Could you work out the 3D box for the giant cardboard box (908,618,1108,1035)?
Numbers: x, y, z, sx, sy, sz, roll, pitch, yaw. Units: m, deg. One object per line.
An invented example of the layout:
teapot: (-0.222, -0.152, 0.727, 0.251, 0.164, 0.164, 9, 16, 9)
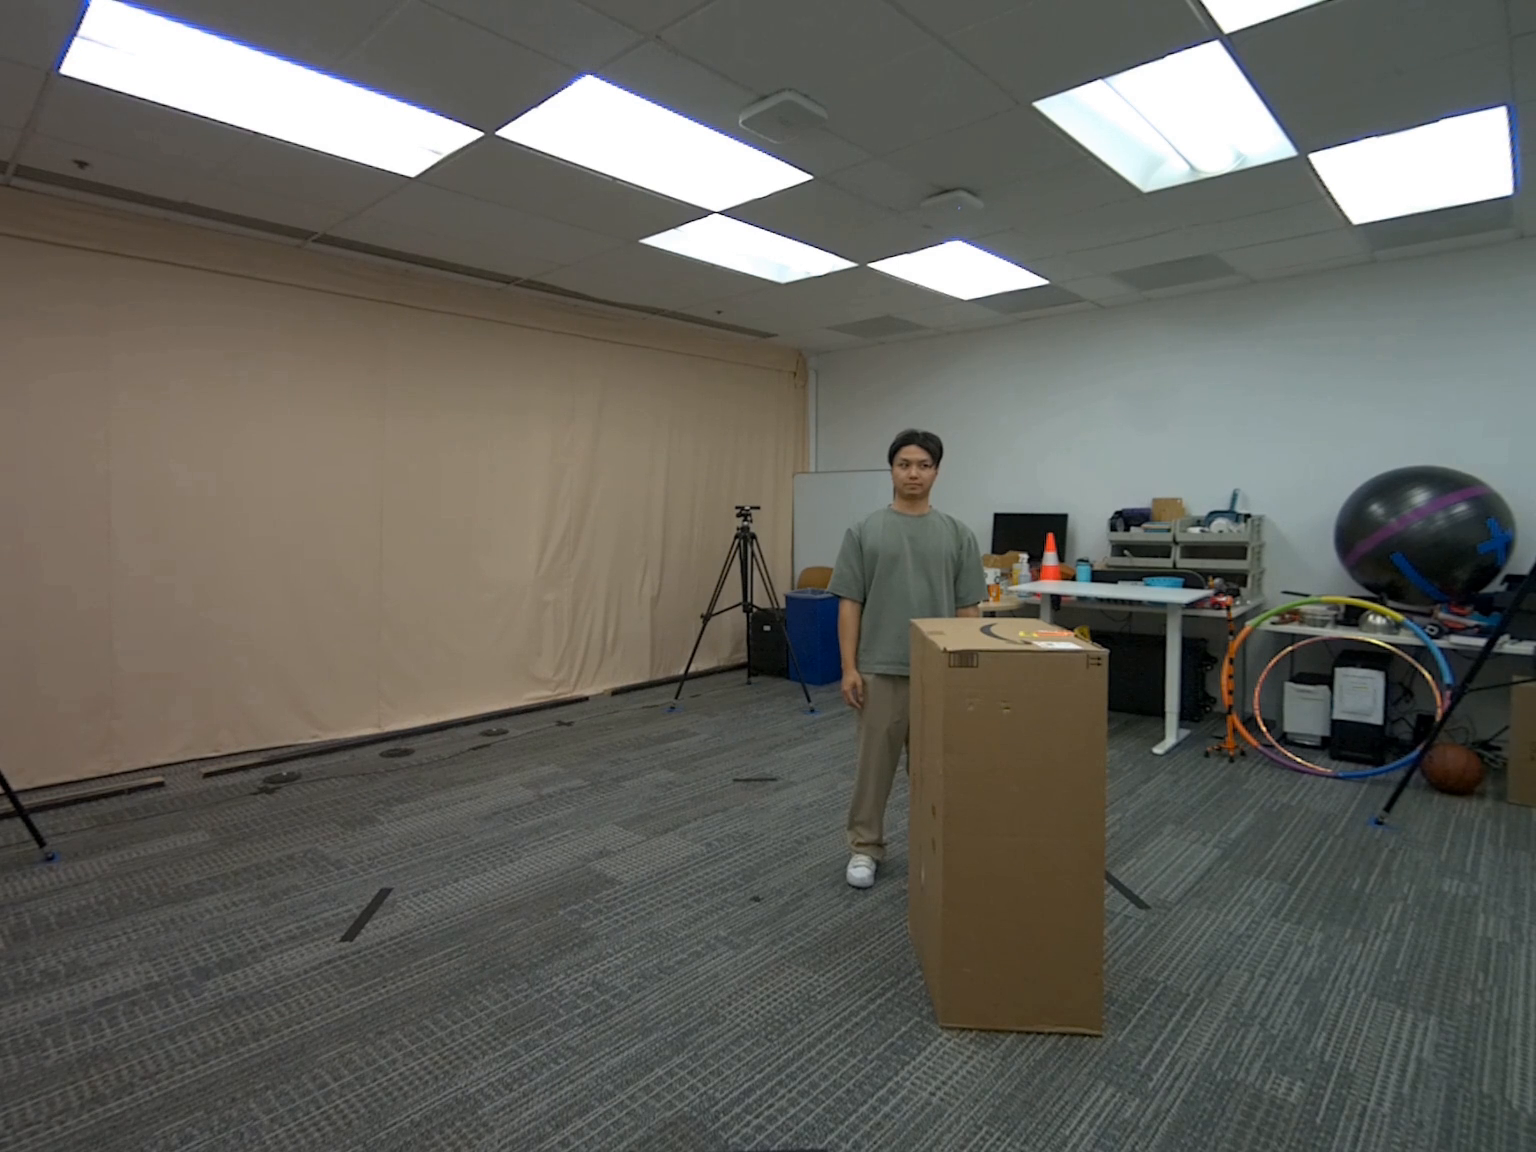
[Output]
giant cardboard box: (0.680, 0.673, 2.479, 0.428, 1.024, 0.576, 0, 3, 2)
